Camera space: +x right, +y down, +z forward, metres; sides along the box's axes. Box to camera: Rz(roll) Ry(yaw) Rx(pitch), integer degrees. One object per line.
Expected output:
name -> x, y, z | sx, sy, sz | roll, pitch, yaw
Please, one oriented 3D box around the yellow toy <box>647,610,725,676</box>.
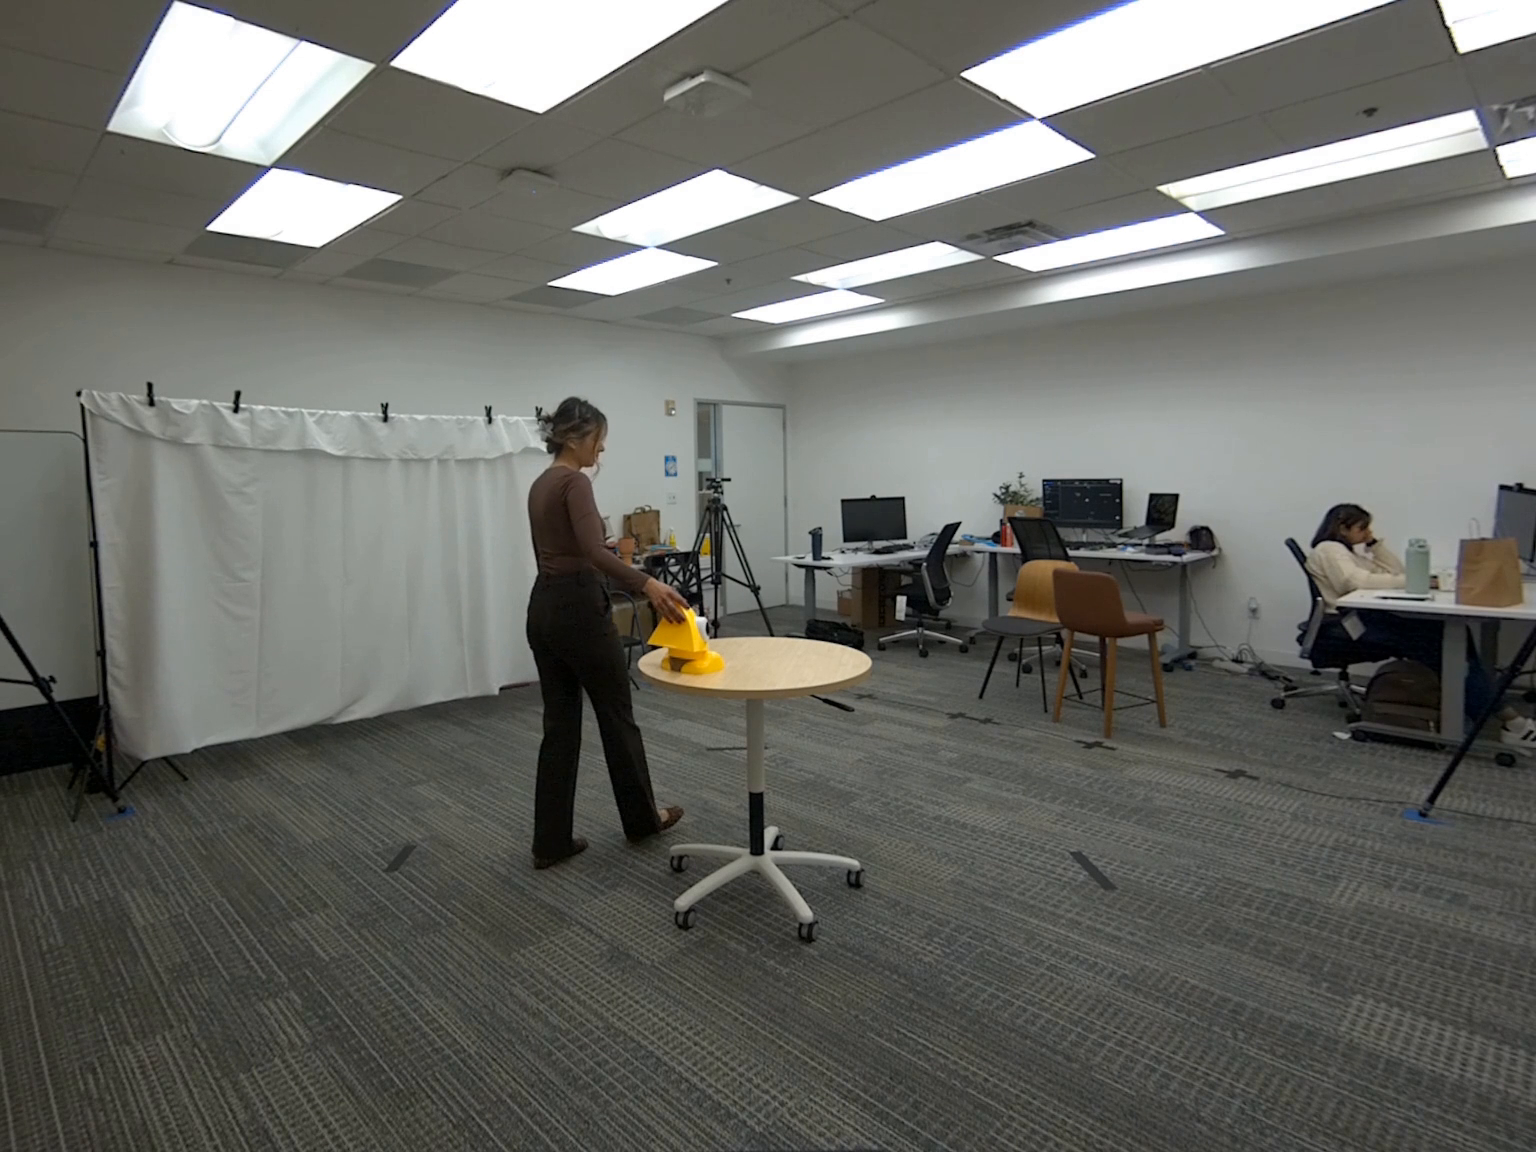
yellow toy -> -0.247, 0.181, 2.721 | 0.211, 0.230, 0.188 | 4, 6, 39
